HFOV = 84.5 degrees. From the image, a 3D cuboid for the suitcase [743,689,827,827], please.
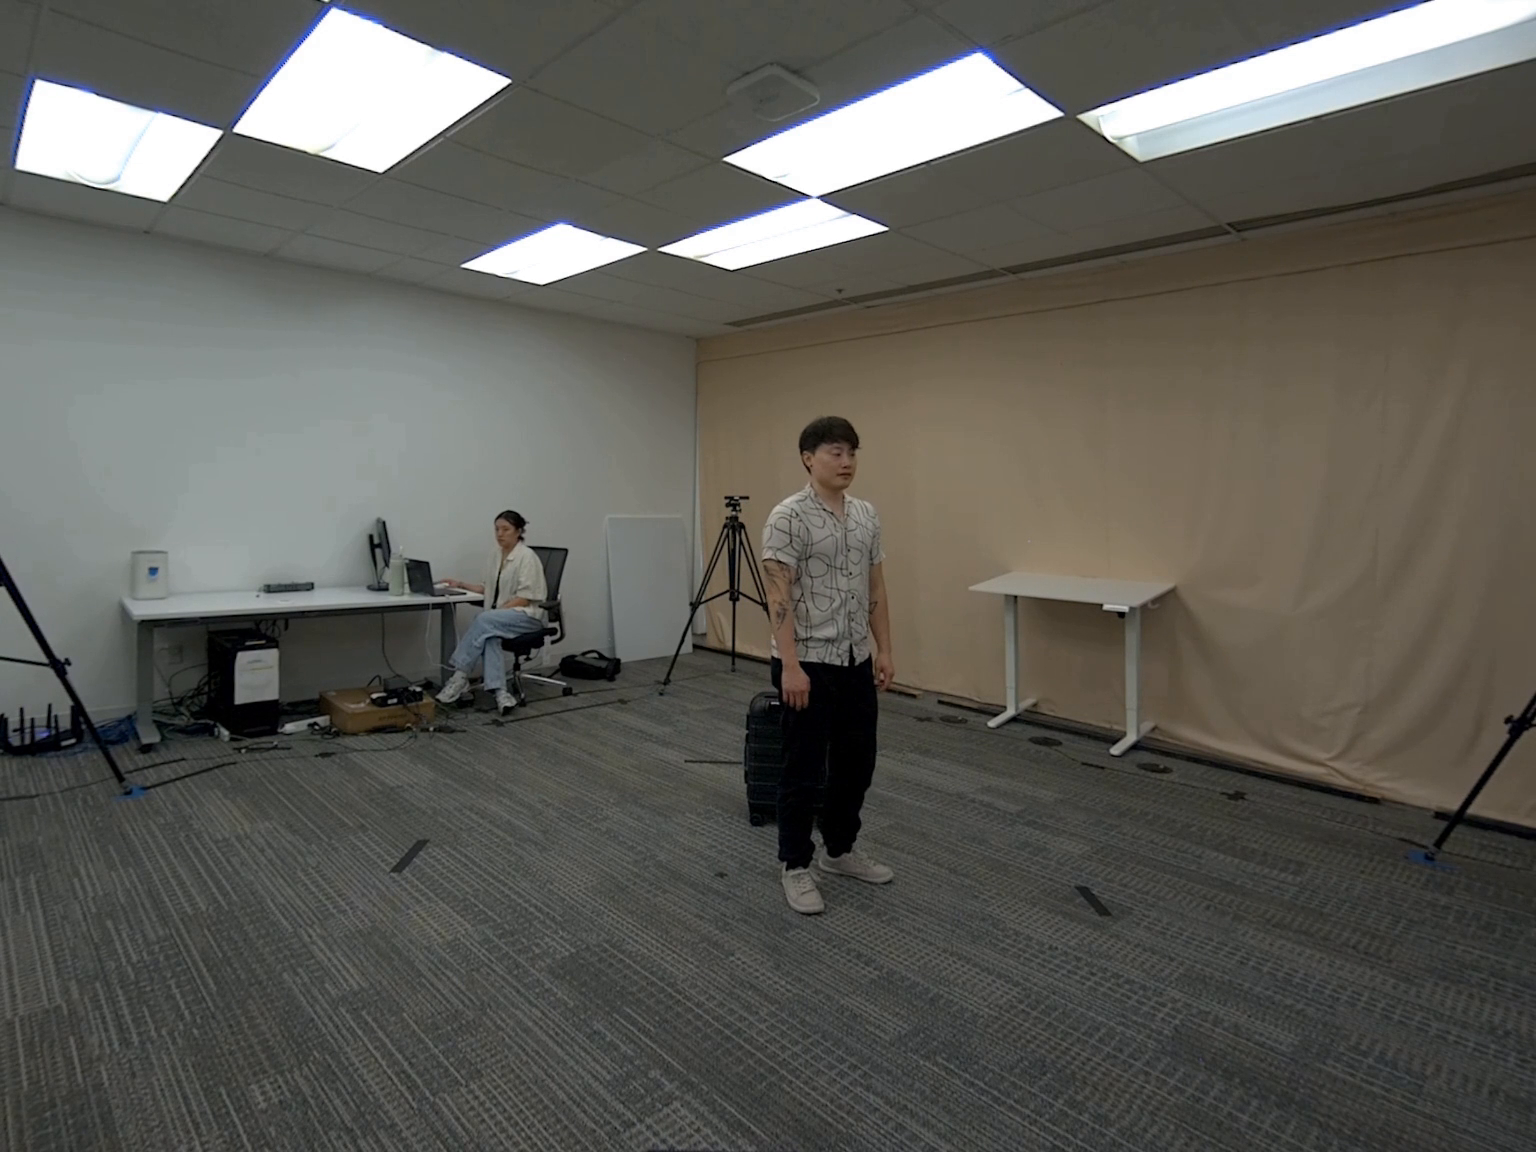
[{"bbox_3d":[0.081,0.786,3.674,0.378,0.548,0.247,0,2,8],"label":"suitcase"}]
